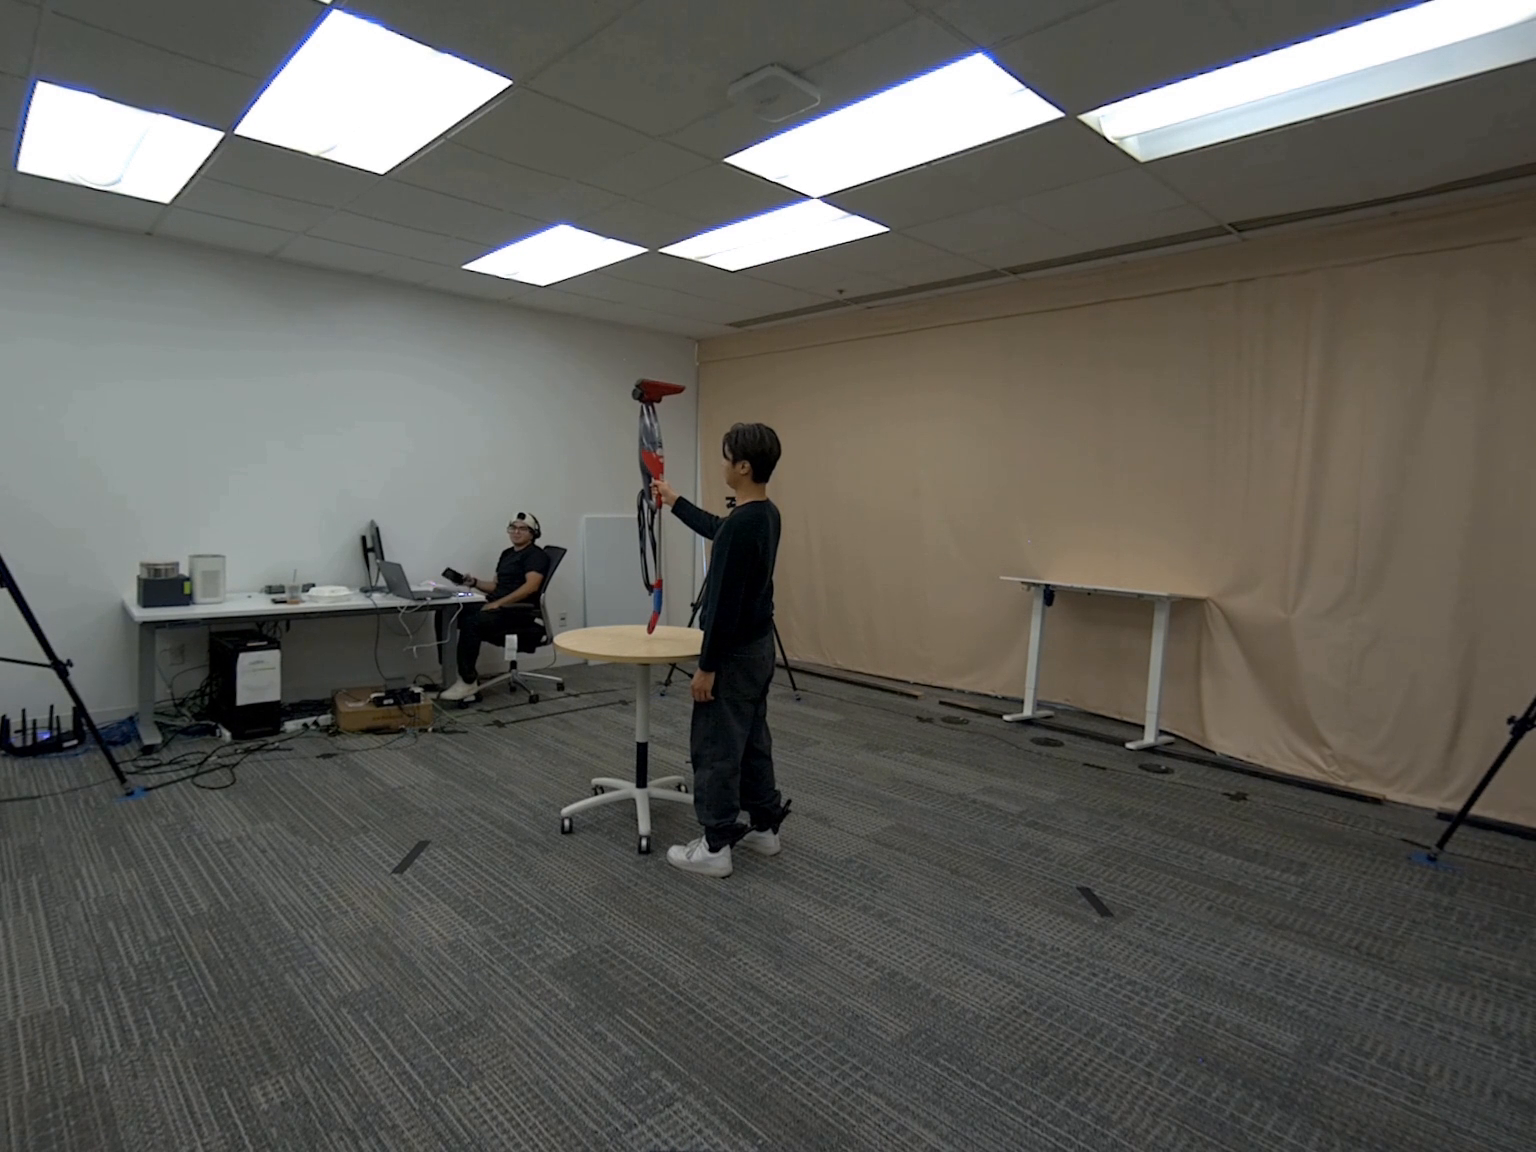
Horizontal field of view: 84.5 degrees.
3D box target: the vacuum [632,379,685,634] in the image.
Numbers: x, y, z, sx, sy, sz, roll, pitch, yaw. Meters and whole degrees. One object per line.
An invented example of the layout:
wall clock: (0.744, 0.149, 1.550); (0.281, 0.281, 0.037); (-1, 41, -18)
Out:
vacuum: (-0.510, -0.283, 3.599); (0.148, 1.047, 0.247); (5, 4, 43)
